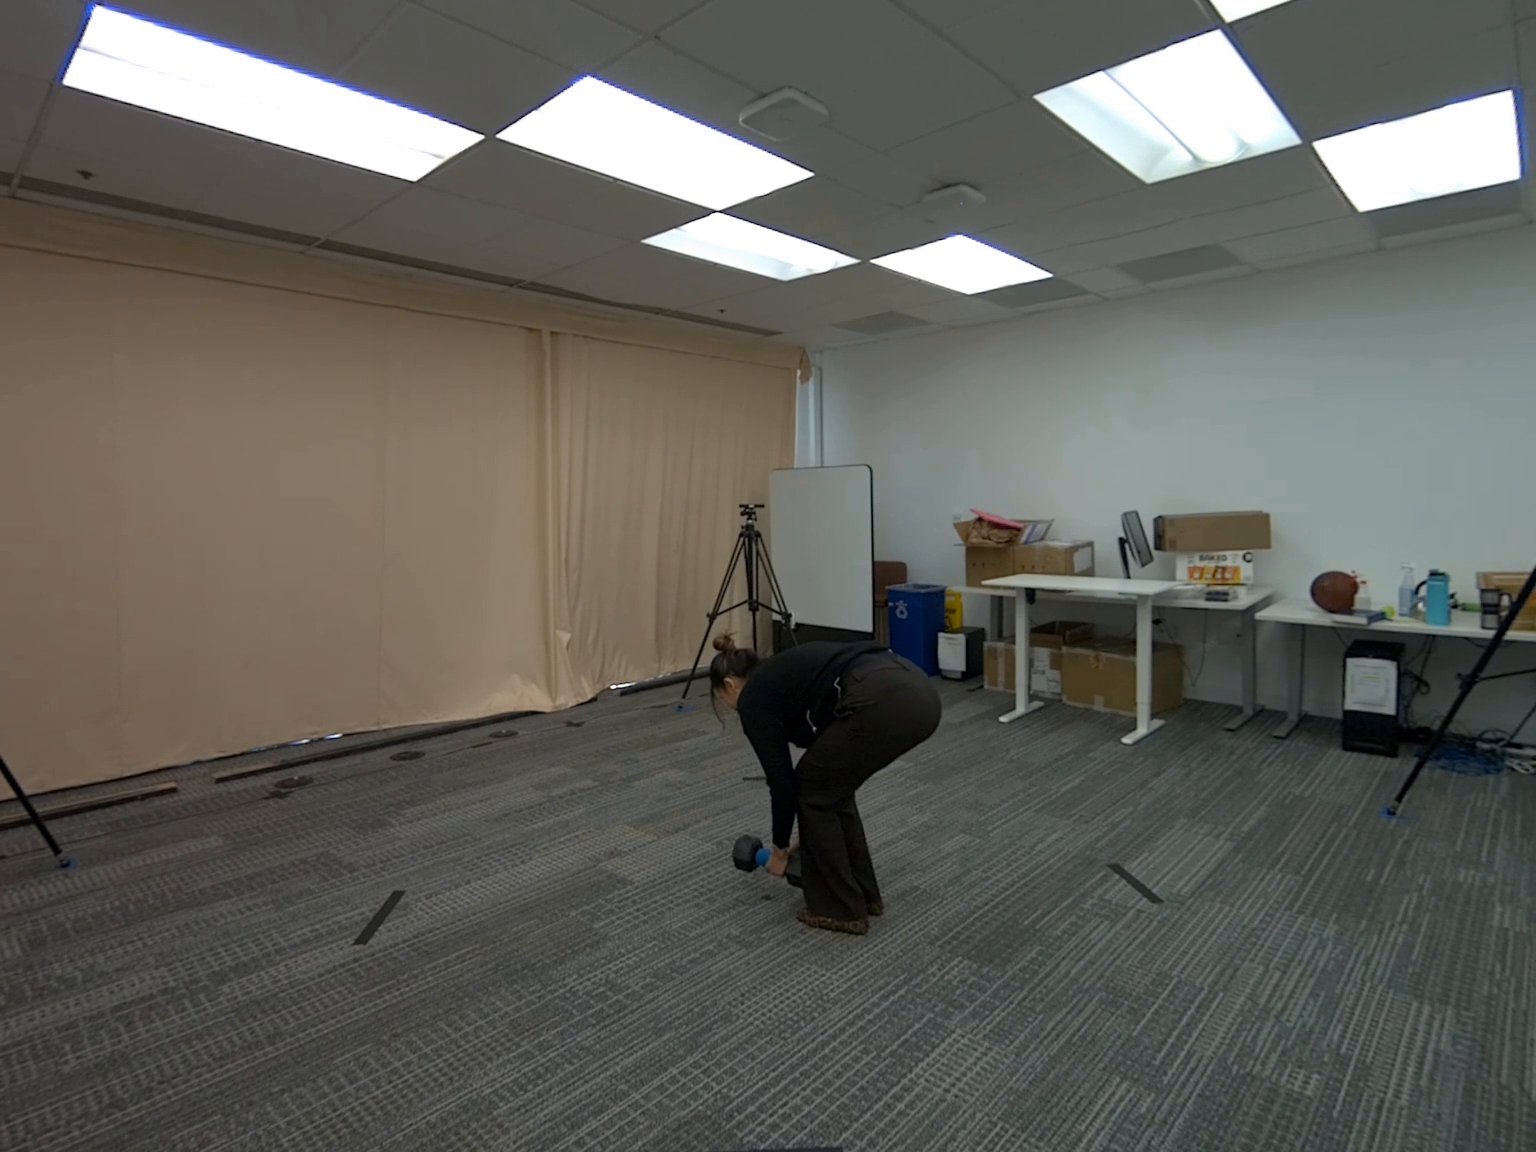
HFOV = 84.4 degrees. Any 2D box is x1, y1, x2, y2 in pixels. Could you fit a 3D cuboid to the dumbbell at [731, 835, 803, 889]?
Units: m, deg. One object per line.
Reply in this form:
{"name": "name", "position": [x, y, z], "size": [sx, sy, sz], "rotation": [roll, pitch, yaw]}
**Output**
{"name": "dumbbell", "position": [0.025, 1.003, 2.971], "size": [0.302, 0.120, 0.108], "rotation": [7, 33, 27]}
